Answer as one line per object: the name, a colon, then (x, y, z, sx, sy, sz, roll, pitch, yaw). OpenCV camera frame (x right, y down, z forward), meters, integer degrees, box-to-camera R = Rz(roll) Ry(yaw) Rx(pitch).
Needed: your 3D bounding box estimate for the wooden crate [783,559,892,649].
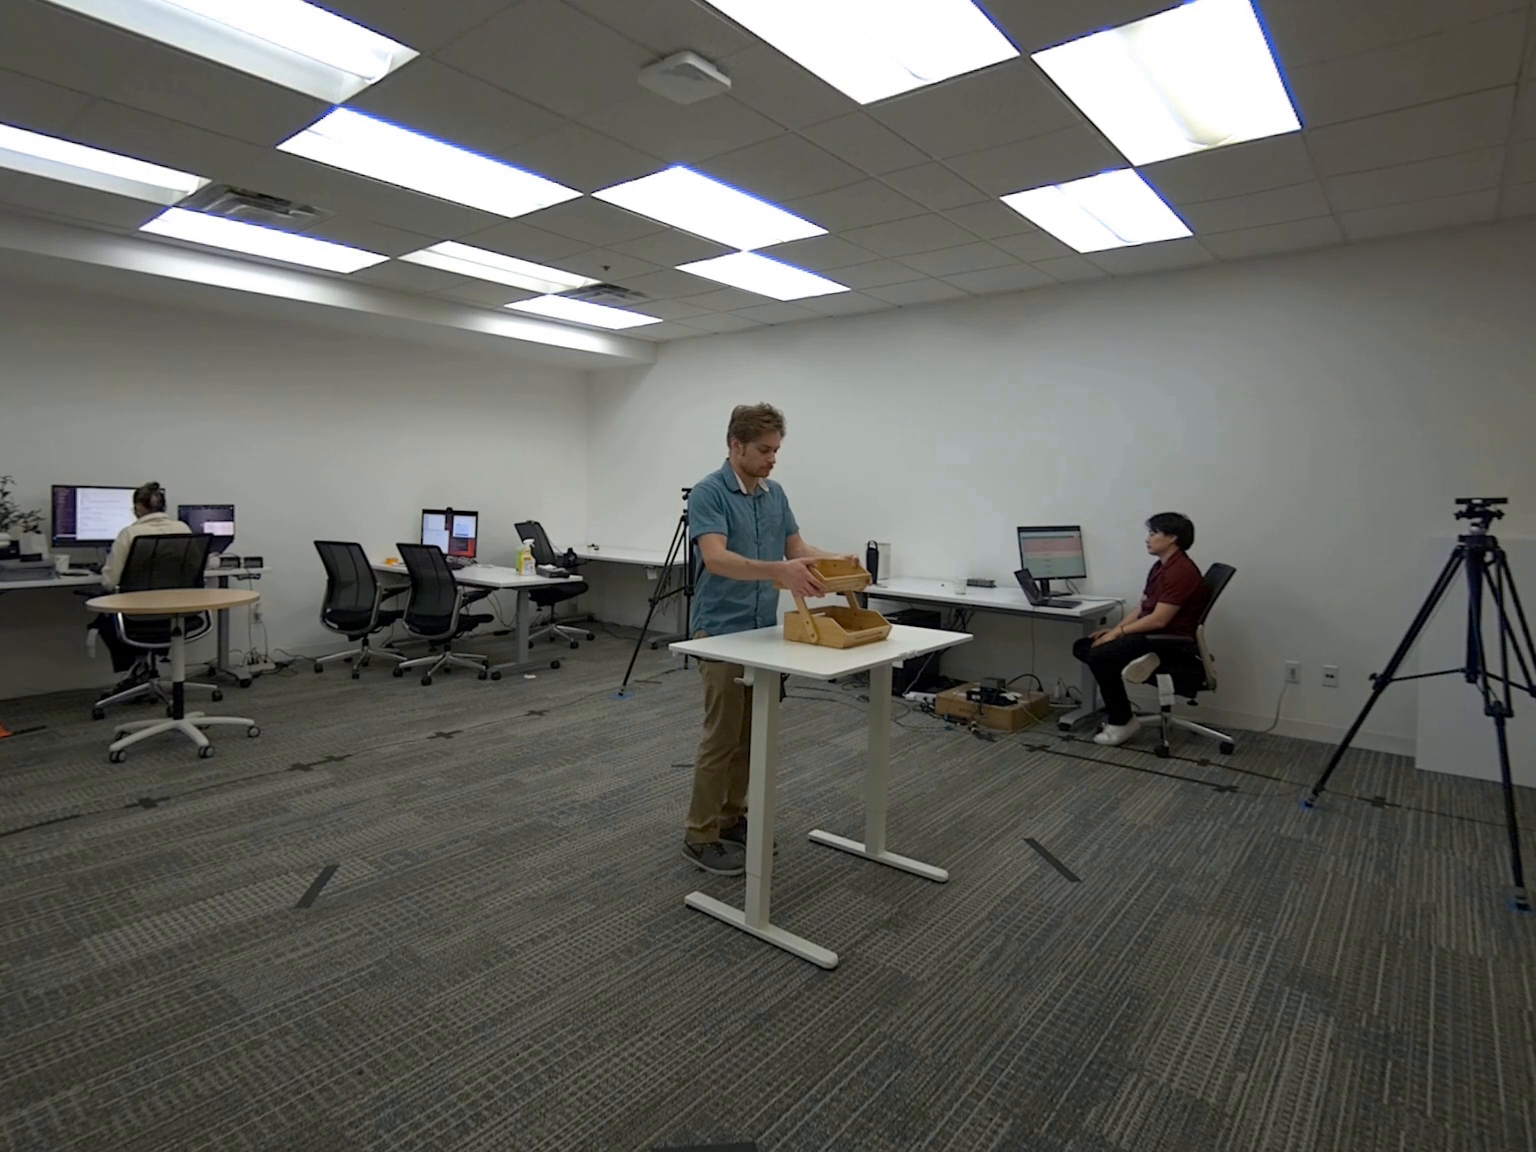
wooden crate: (0.221, 0.076, 2.922, 0.312, 0.272, 0.315, 4, 5, 38)
